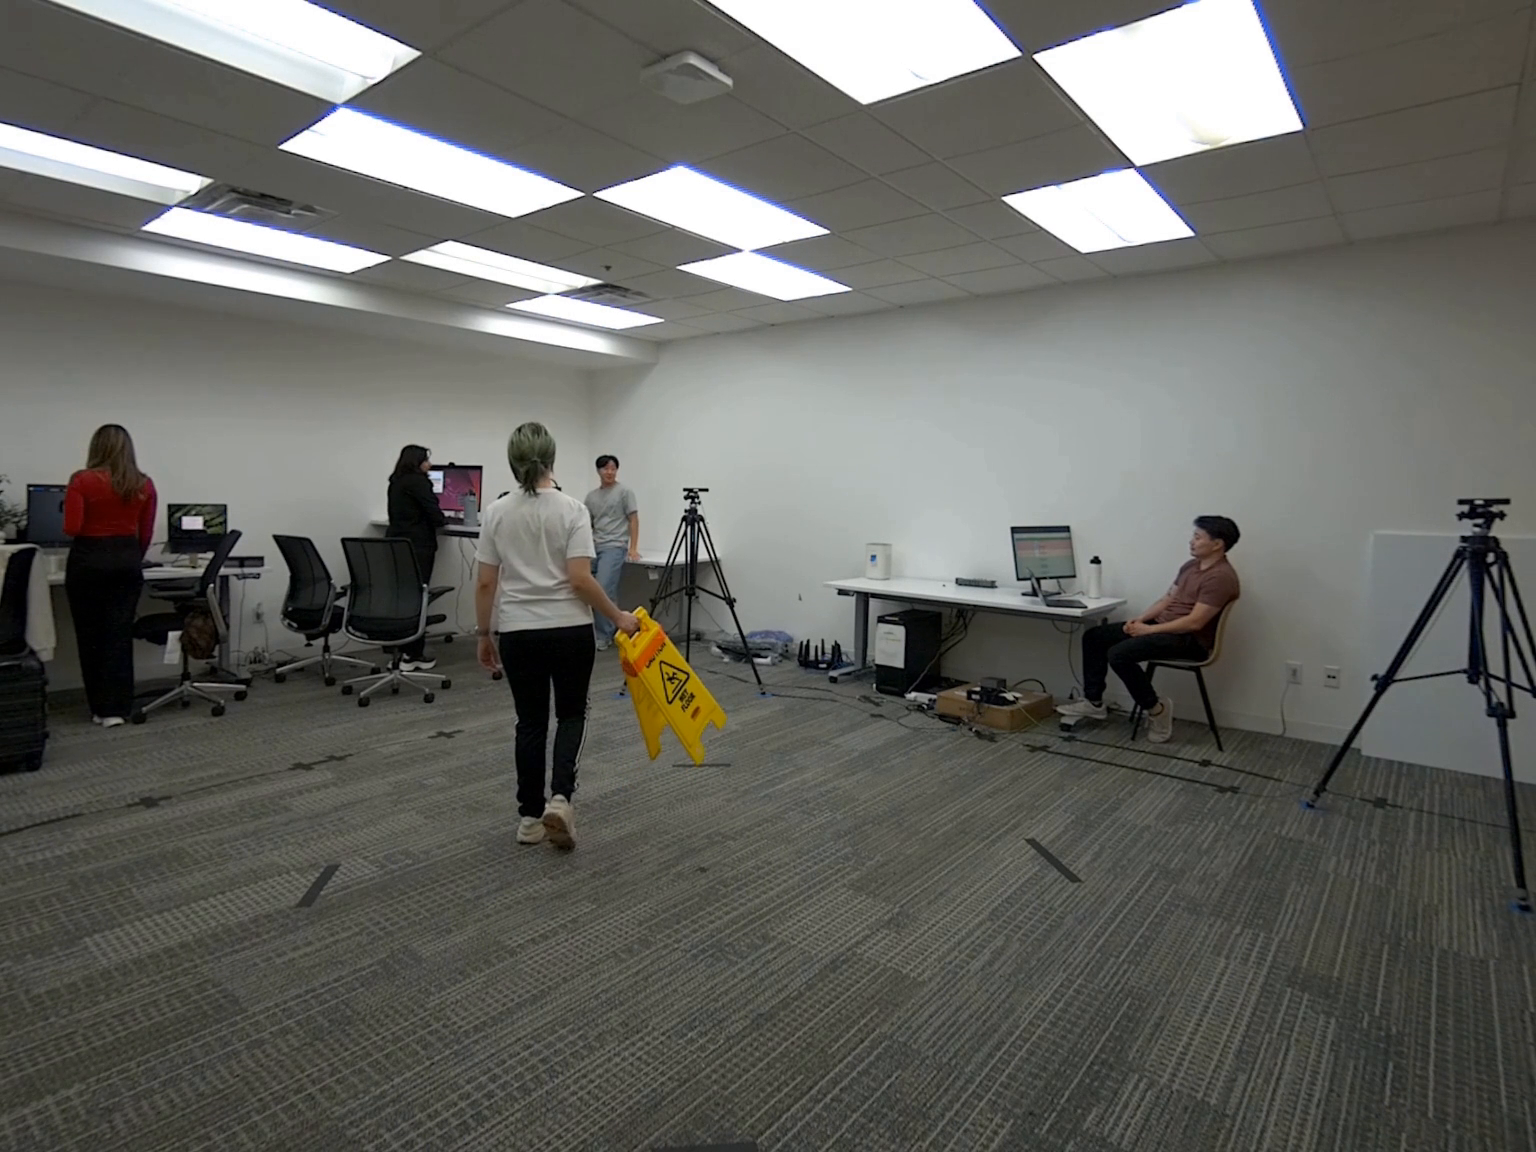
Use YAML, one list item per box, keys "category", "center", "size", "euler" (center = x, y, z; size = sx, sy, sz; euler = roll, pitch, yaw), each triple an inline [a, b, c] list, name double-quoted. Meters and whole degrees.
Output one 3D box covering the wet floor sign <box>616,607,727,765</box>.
- category: "wet floor sign"
  center: [-0.466, 0.446, 3.519]
  size: [0.297, 0.627, 0.283]
  euler: [-5, 30, 33]
